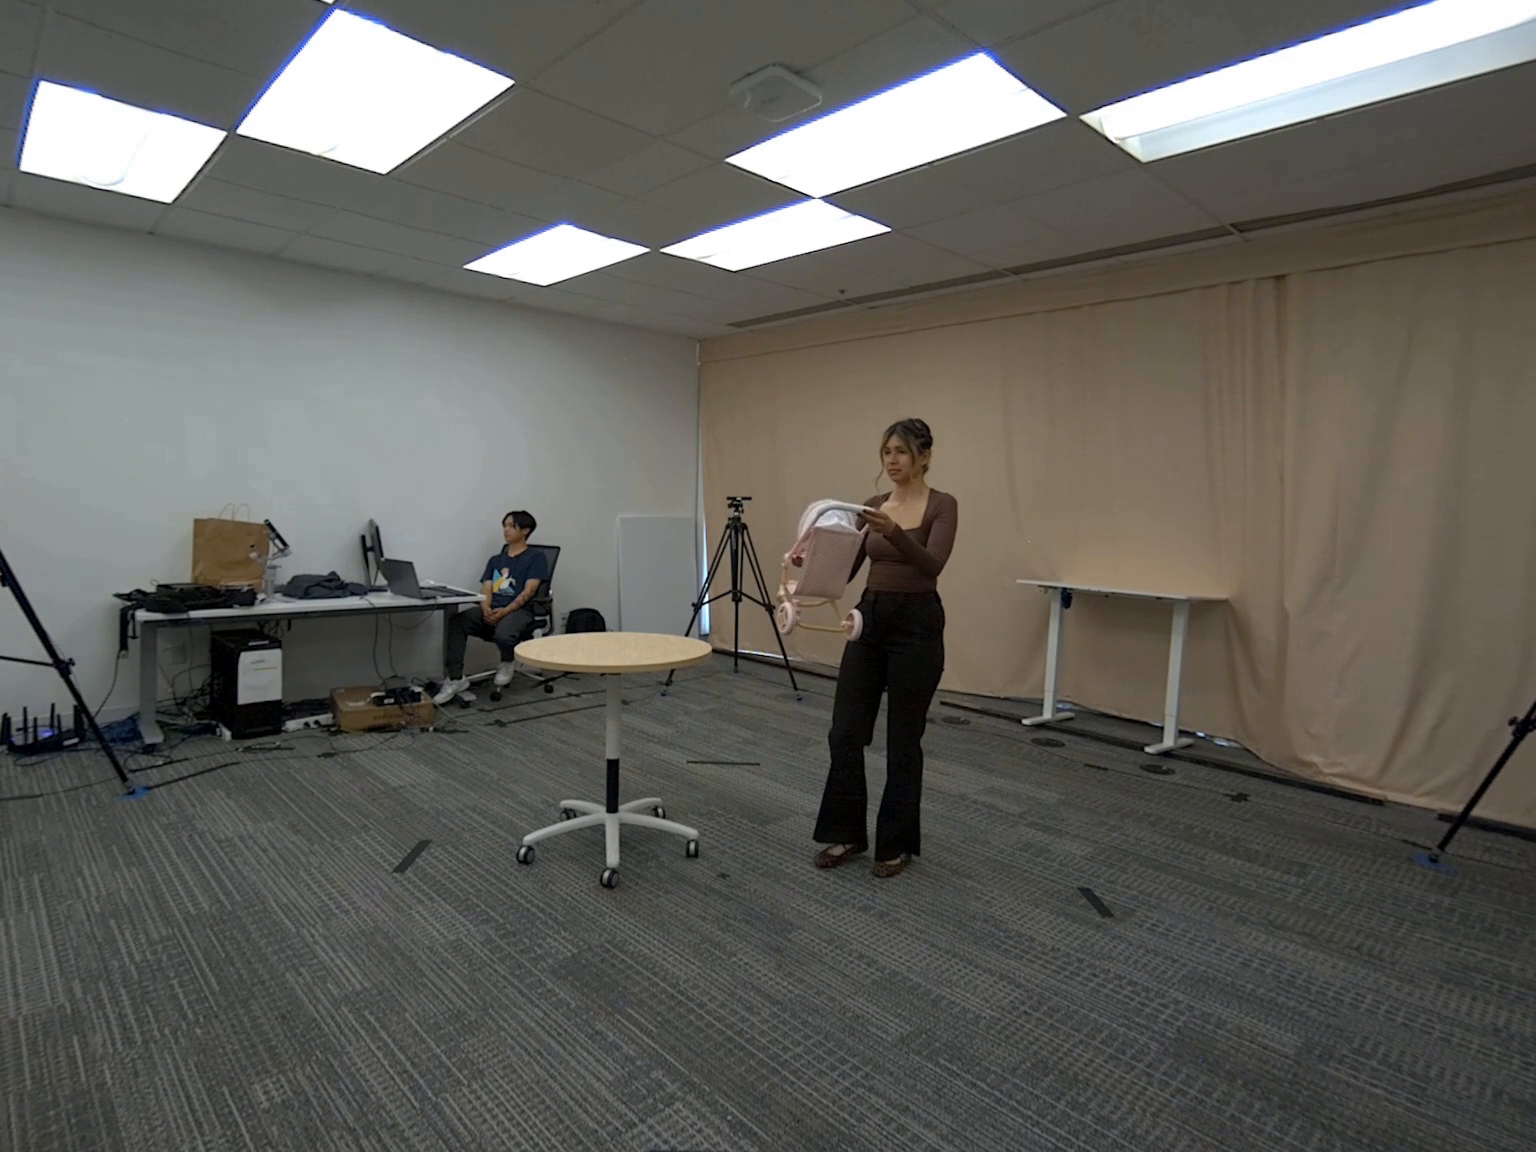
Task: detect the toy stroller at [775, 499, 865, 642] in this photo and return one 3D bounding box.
[{"bbox_3d":[0.172,-0.022,2.911,0.278,0.531,0.348,7,14,-15],"label":"toy stroller"}]
